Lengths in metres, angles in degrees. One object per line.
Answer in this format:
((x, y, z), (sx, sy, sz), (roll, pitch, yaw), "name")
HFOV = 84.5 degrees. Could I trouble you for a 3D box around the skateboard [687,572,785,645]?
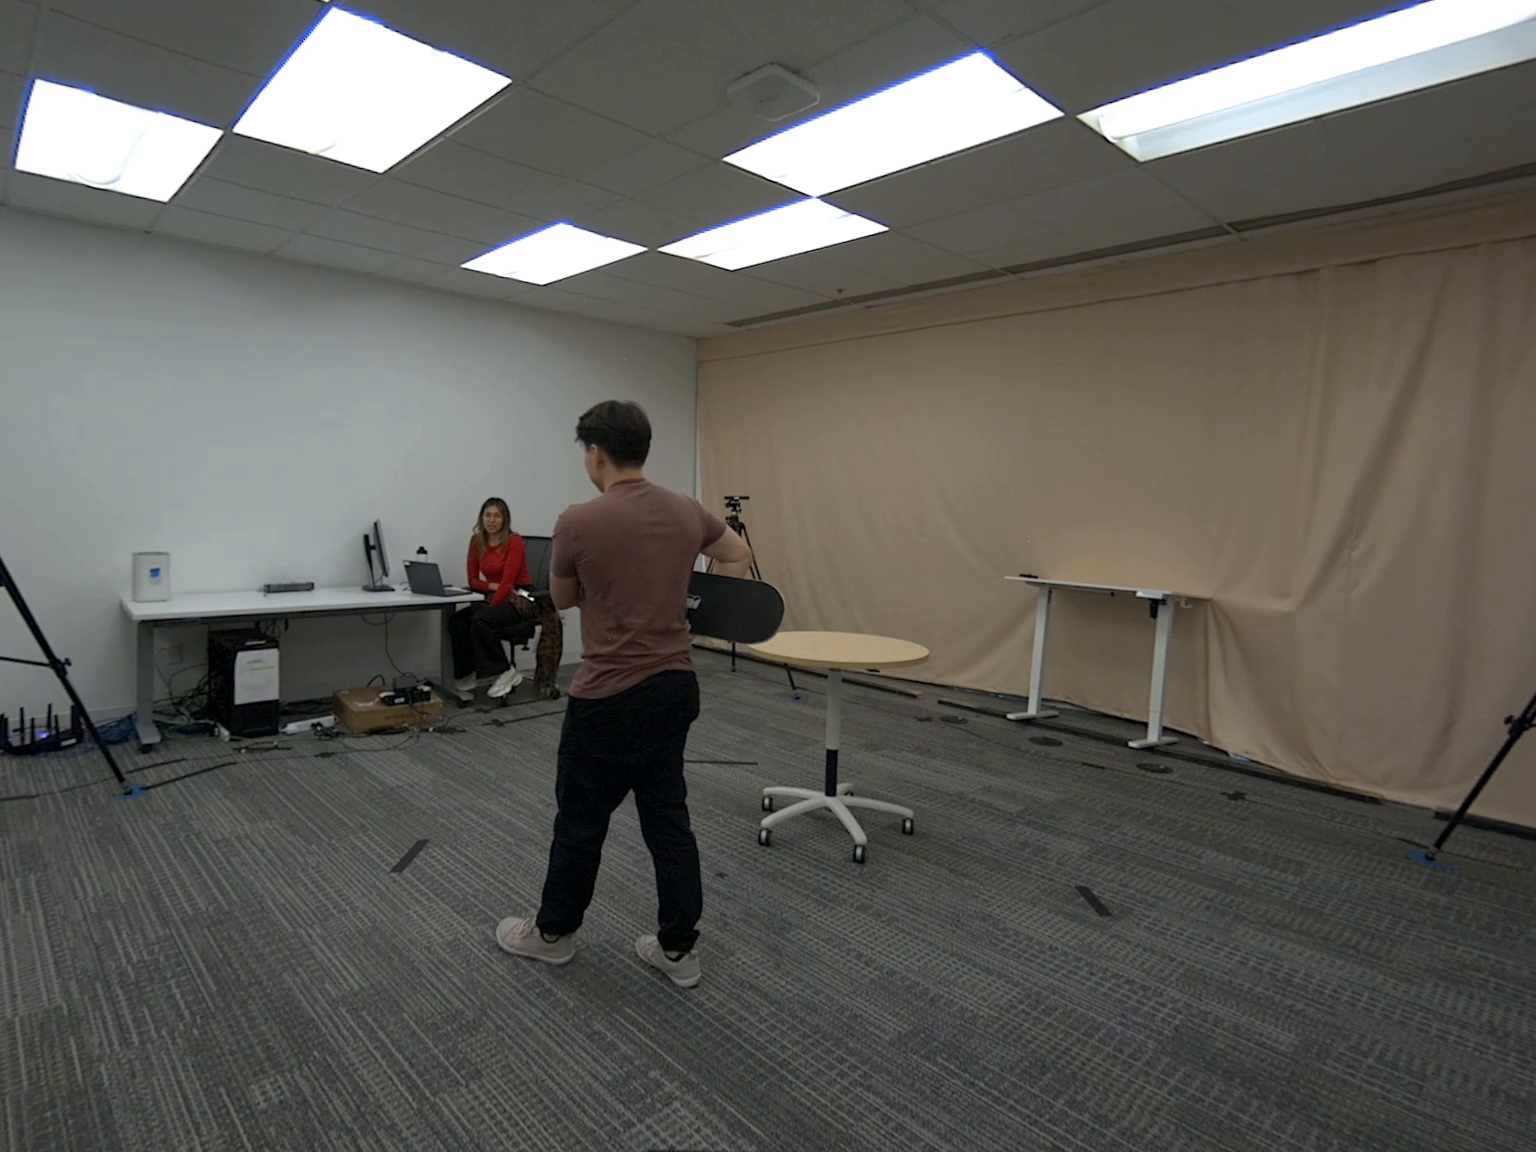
((-0.295, 0.078, 2.634), (0.803, 0.194, 0.107), (9, -10, 29), "skateboard")
